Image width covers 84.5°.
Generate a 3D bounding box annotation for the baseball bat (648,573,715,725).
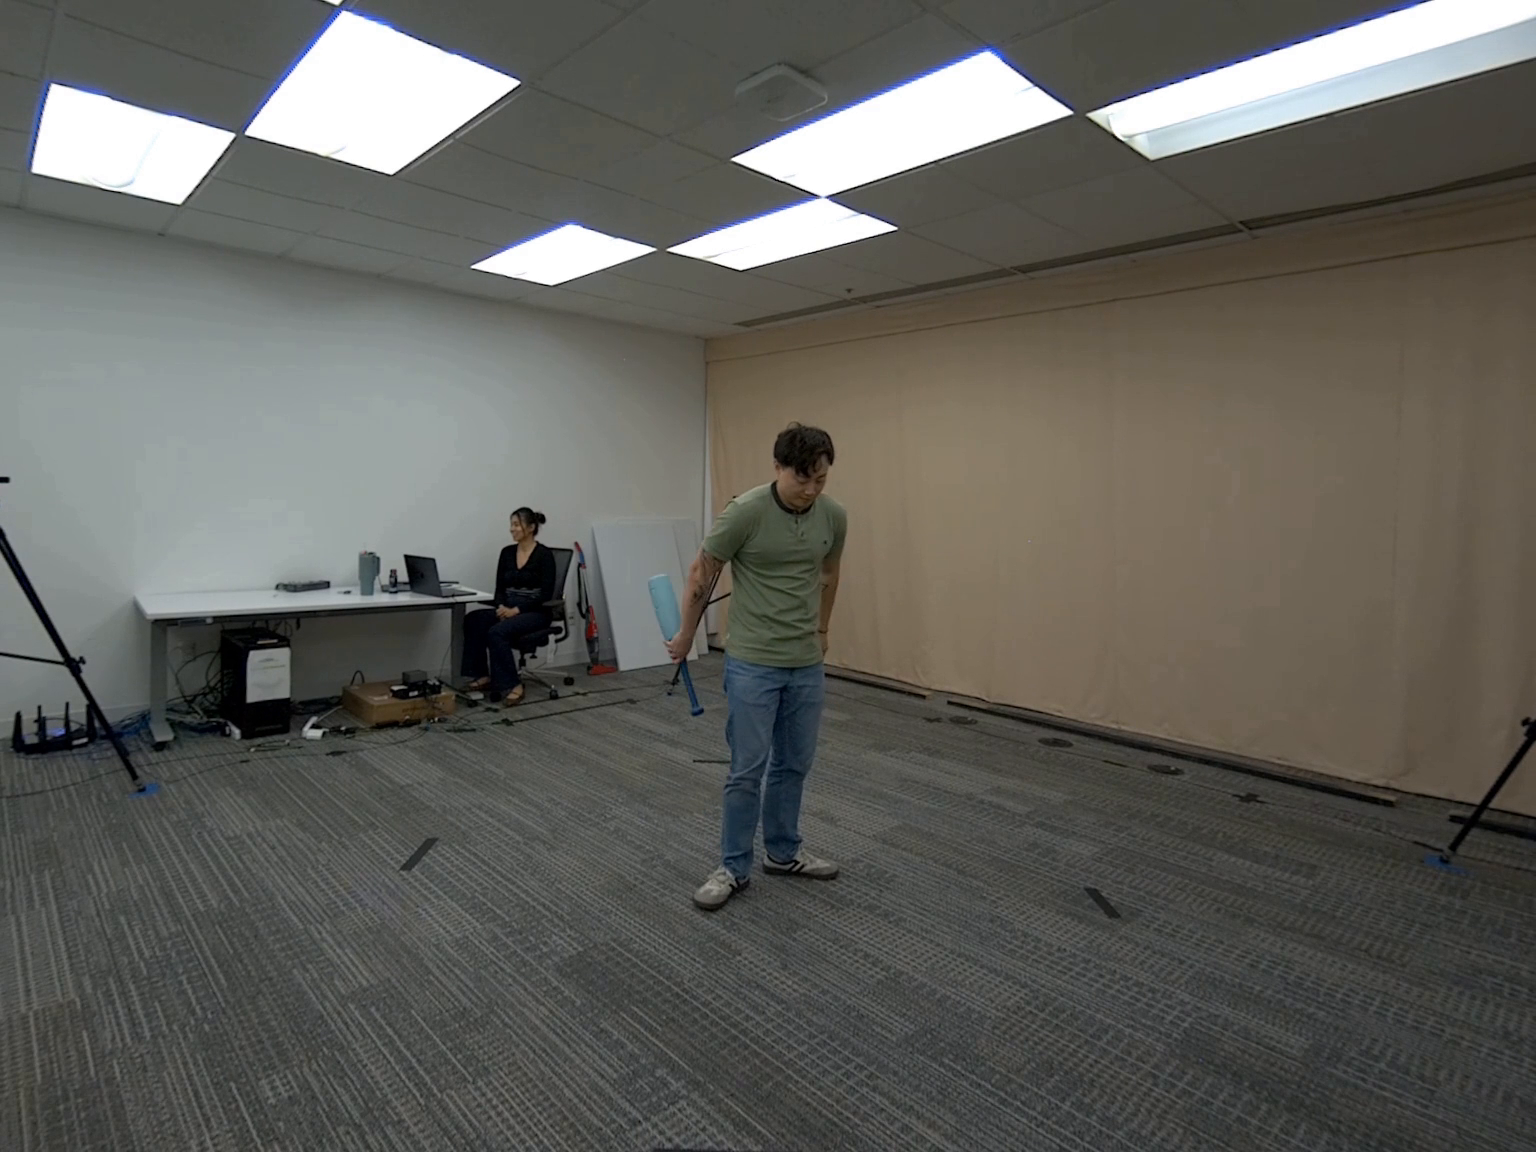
[{"bbox_3d":[-0.321,0.265,3.128,0.089,0.551,0.088,-17,-15,-6],"label":"baseball bat"}]
